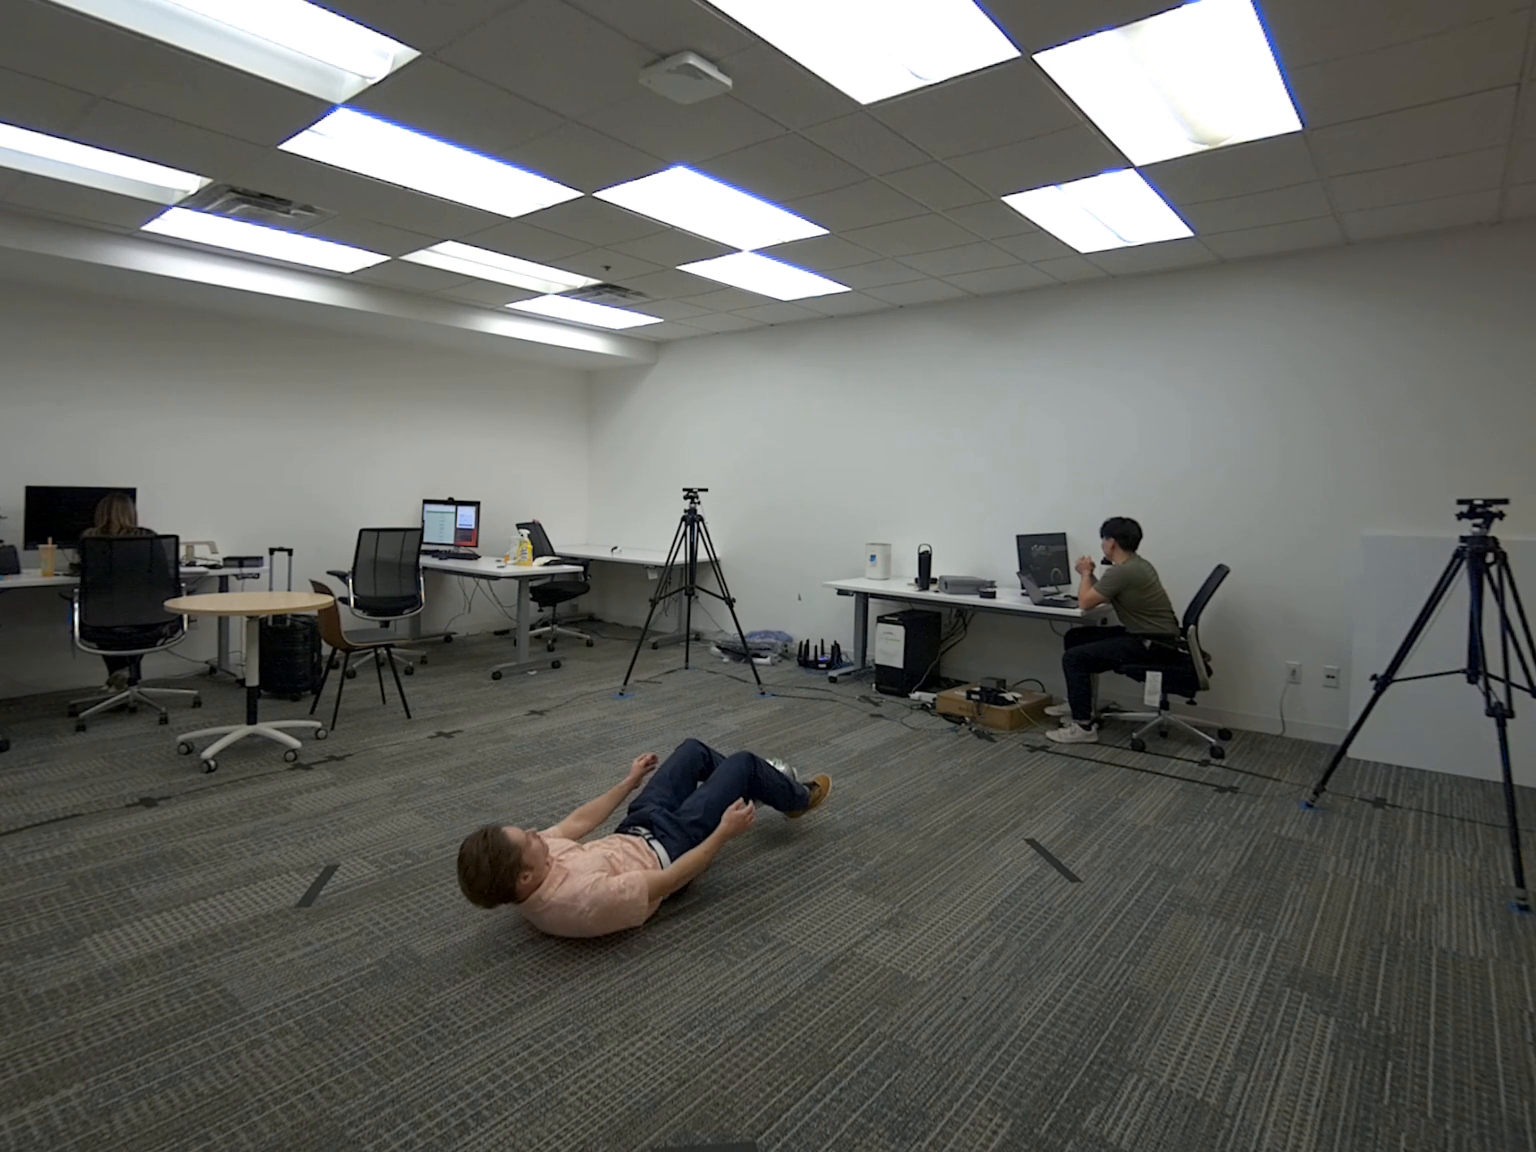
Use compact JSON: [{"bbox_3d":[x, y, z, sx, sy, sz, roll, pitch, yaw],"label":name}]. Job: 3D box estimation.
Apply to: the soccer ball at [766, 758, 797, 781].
[{"bbox_3d":[0.016,0.831,3.438,0.187,0.187,0.188,1,4,-2],"label":"soccer ball"}]
